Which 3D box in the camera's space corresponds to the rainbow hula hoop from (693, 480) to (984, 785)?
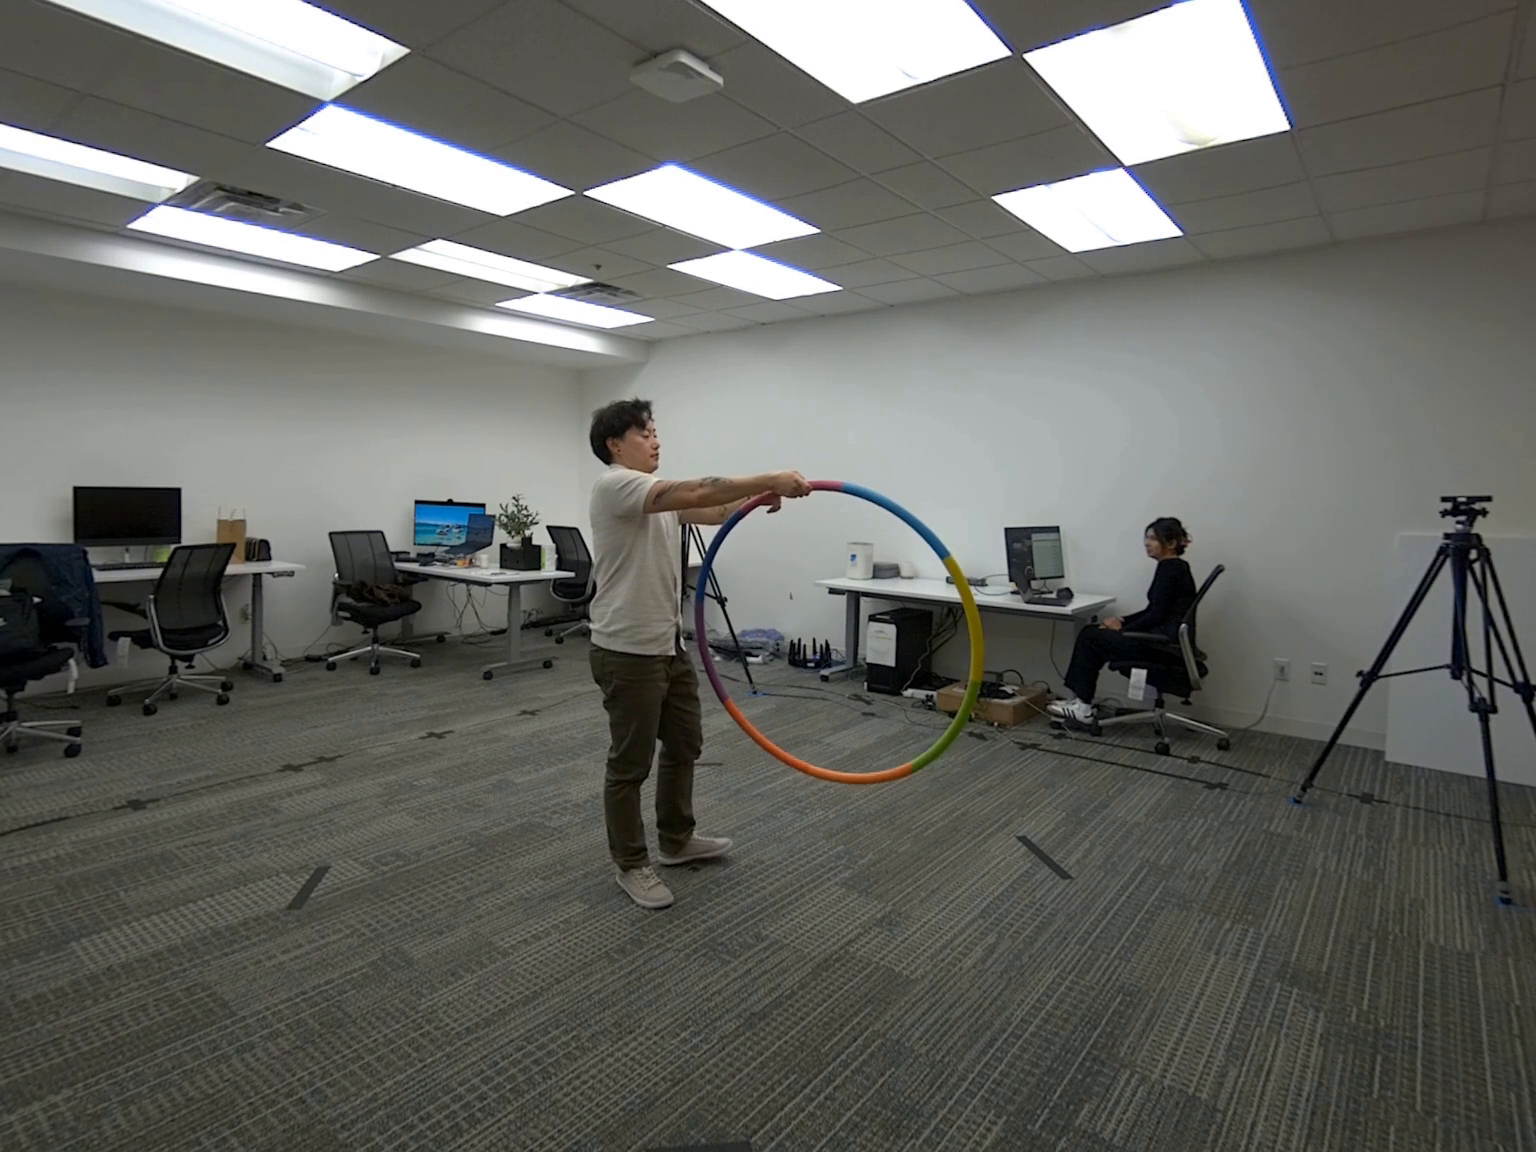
[{"bbox_3d":[0.176,0.187,2.692,1.008,0.967,0.035,3,13,31],"label":"rainbow hula hoop"}]
